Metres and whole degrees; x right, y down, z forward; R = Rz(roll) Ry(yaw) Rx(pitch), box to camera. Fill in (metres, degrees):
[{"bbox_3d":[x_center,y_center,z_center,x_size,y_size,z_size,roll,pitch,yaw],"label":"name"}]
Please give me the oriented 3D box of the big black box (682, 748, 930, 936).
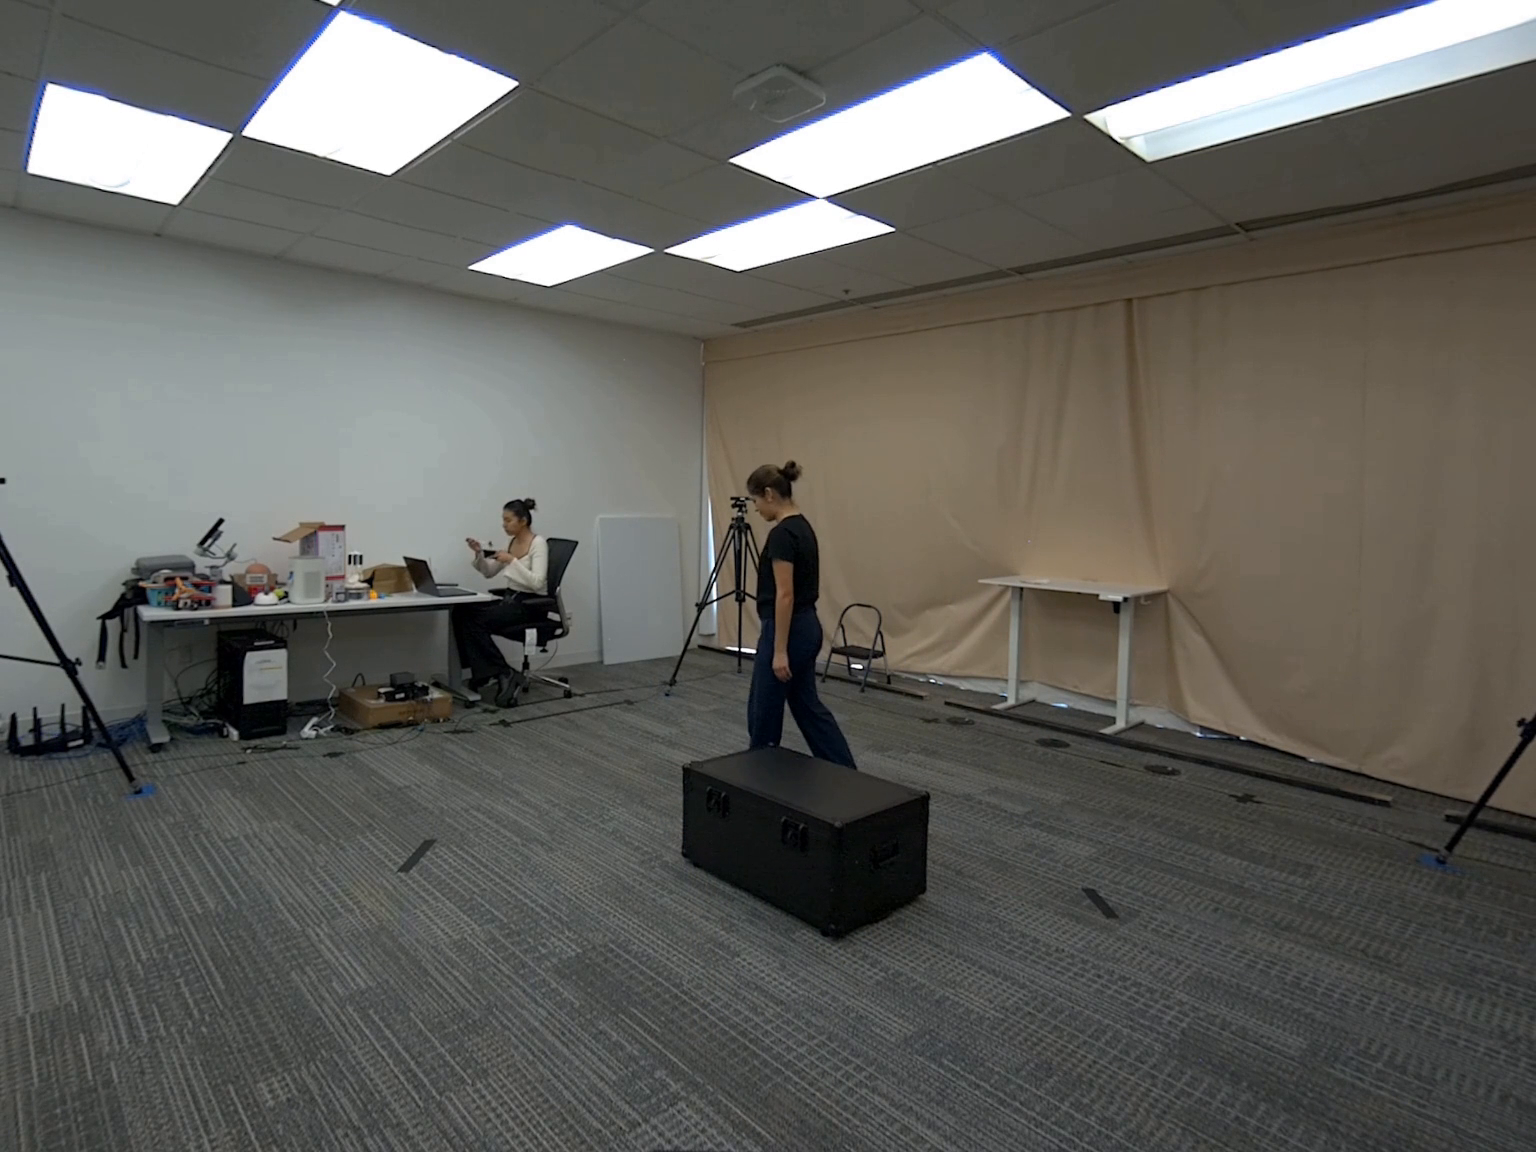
[{"bbox_3d":[0.093,0.924,3.087,0.509,0.395,0.884,-2,6,-43],"label":"big black box"}]
